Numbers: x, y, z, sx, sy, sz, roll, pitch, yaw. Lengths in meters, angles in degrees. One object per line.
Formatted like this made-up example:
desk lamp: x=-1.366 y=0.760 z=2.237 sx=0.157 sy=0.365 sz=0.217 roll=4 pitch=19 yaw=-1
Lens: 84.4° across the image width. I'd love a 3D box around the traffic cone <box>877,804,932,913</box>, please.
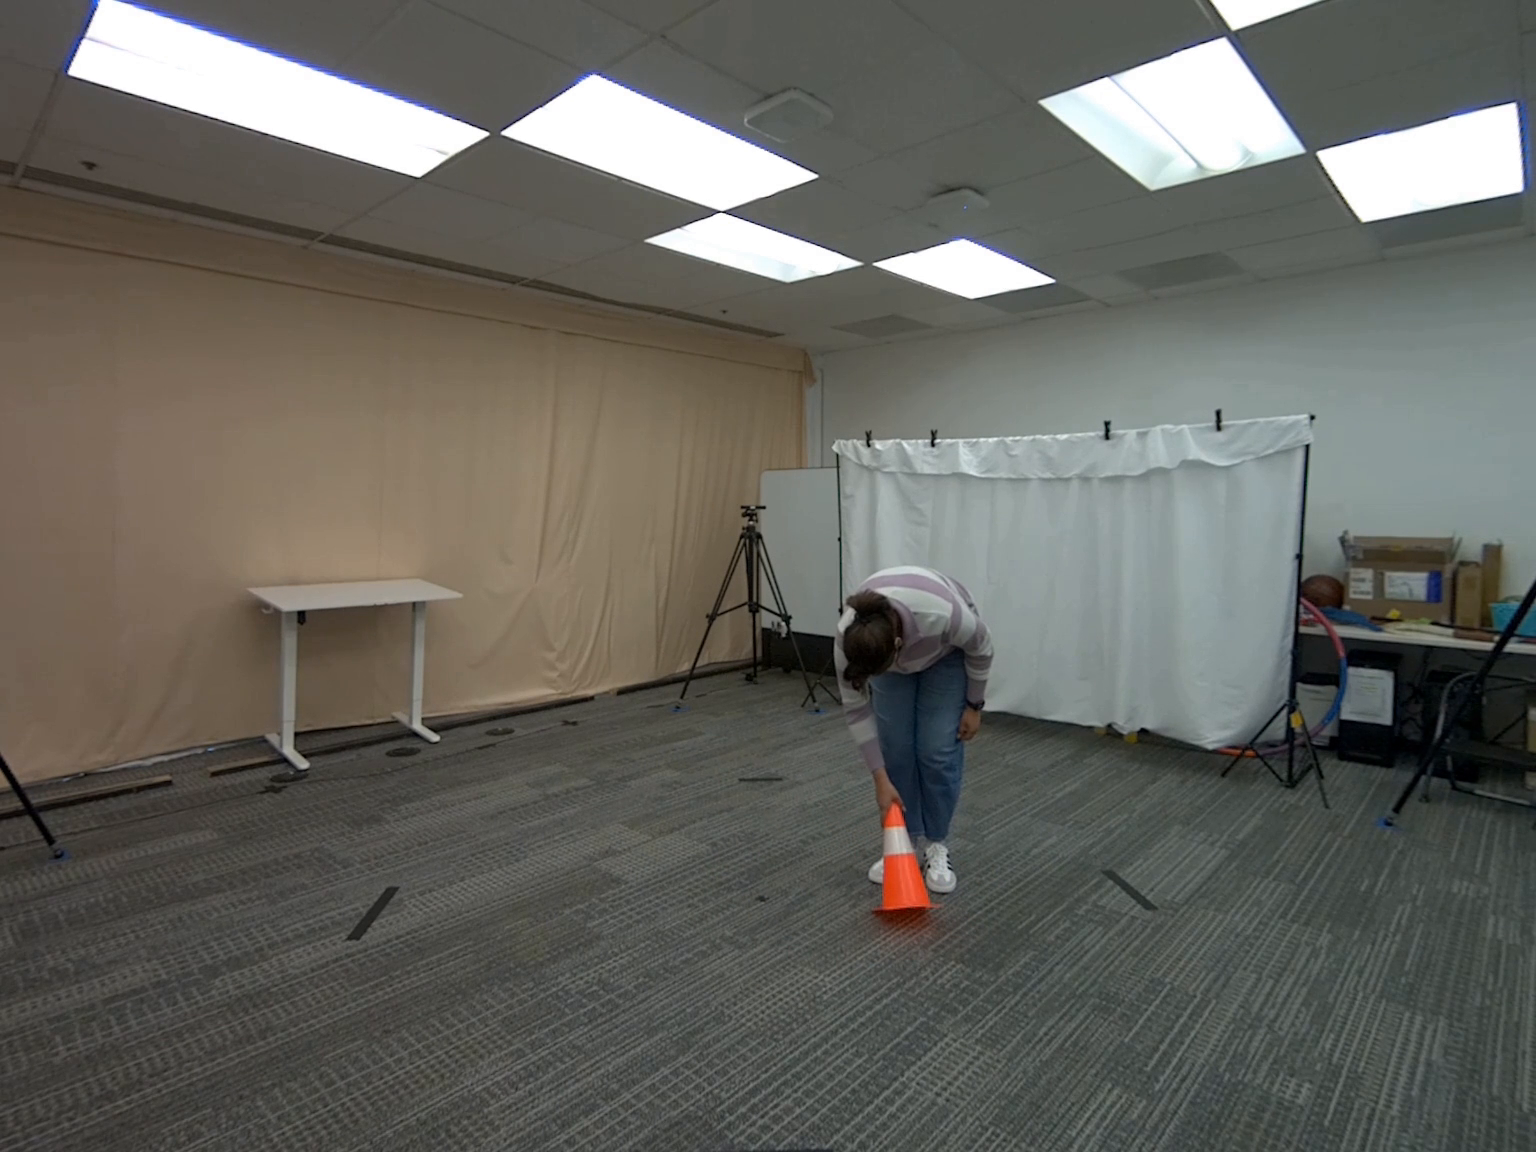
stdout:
traffic cone: x=0.448 y=0.934 z=2.893 sx=0.201 sy=0.389 sz=0.205 roll=1 pitch=-21 yaw=-13
